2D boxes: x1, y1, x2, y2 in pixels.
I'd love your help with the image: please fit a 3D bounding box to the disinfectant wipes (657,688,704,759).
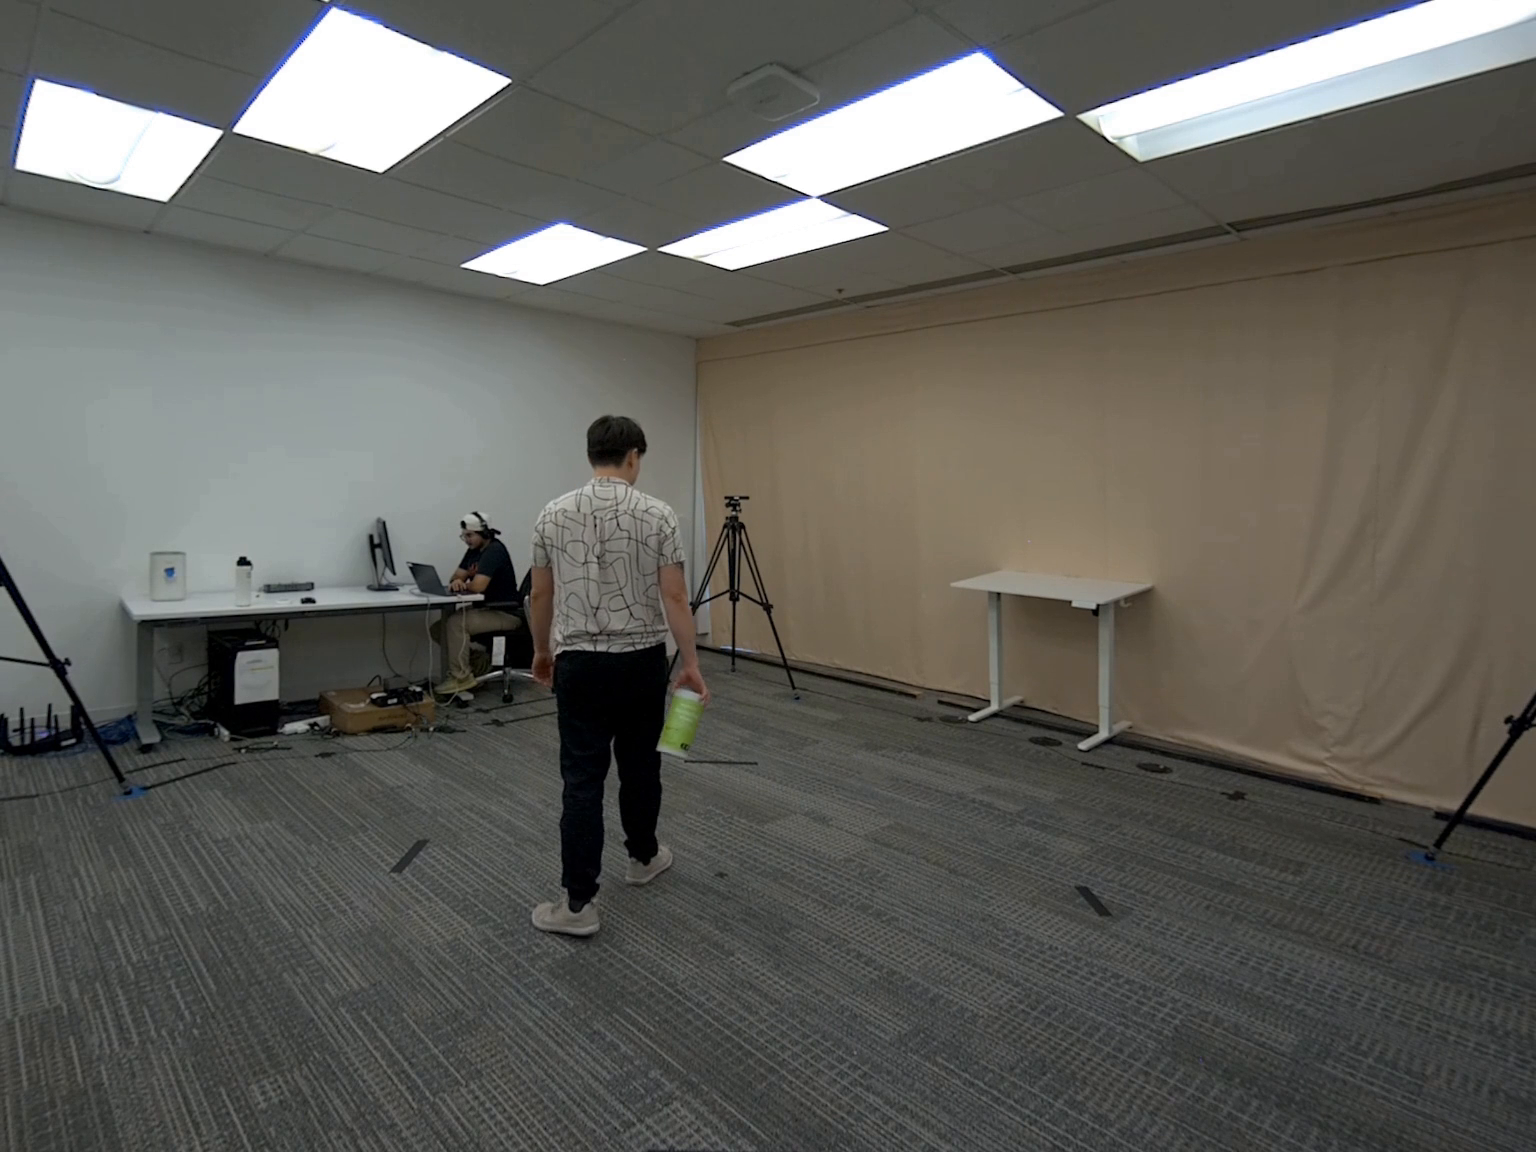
[{"bbox_3d":[-0.300,0.494,2.812,0.118,0.219,0.117,15,-11,1],"label":"disinfectant wipes"}]
